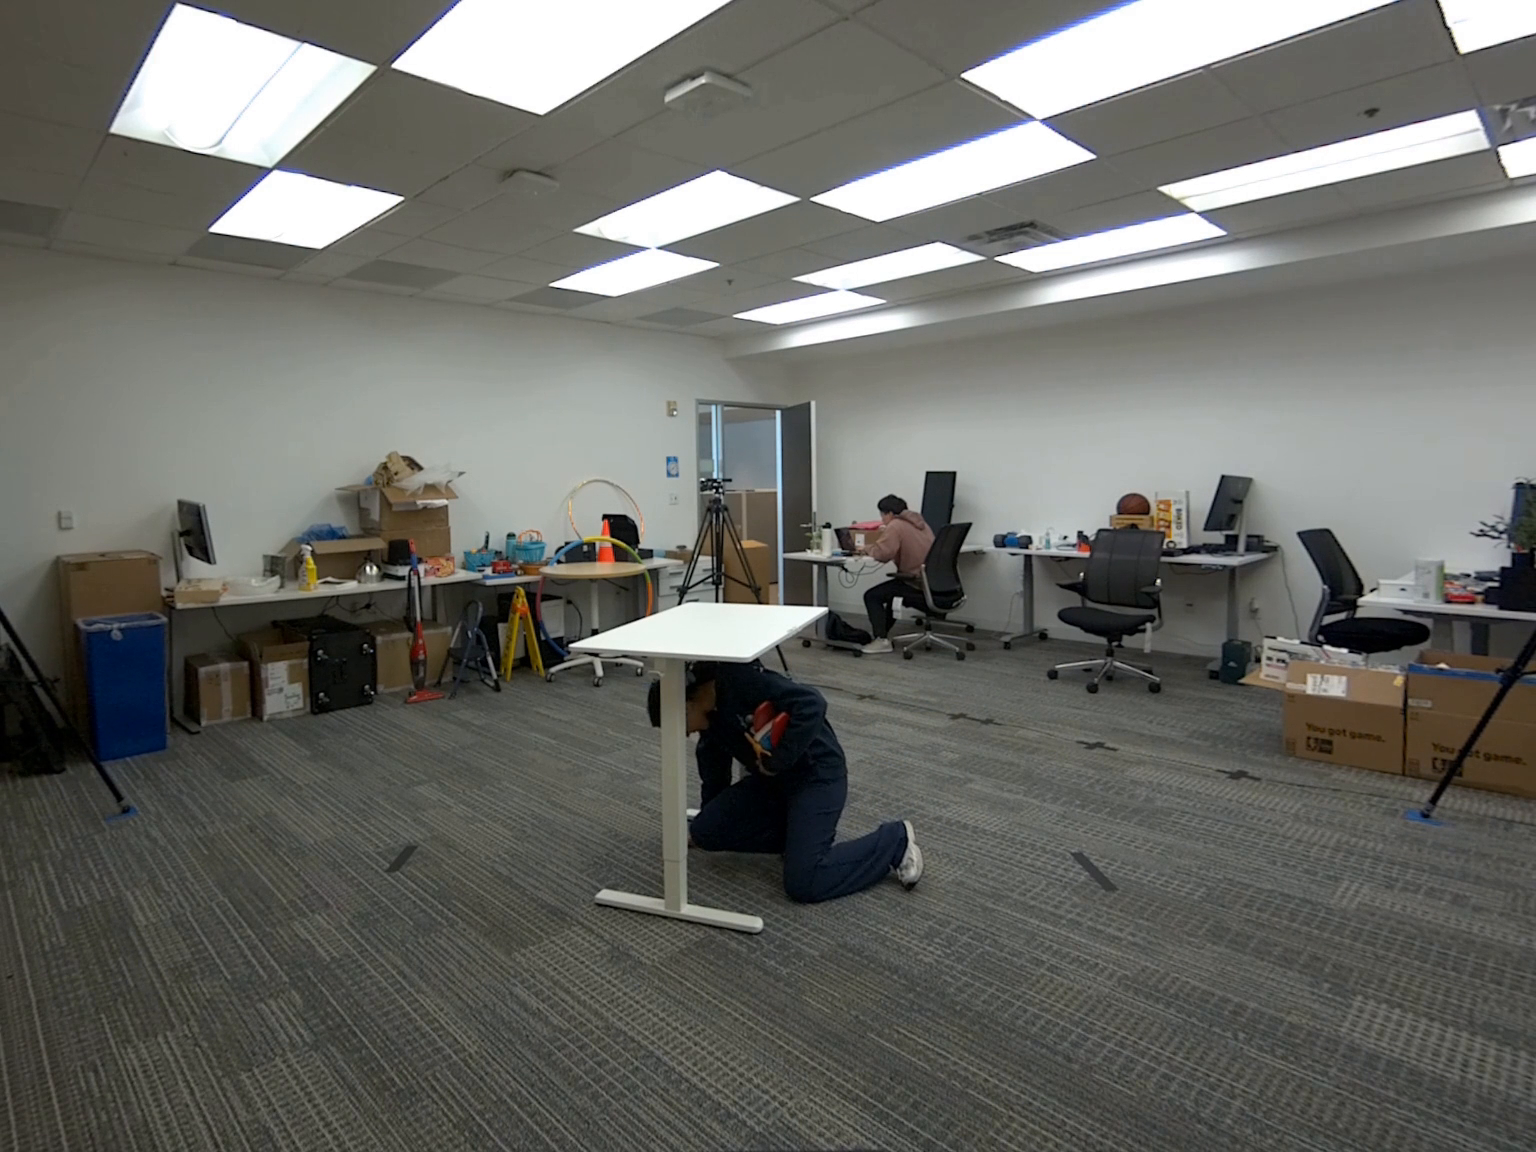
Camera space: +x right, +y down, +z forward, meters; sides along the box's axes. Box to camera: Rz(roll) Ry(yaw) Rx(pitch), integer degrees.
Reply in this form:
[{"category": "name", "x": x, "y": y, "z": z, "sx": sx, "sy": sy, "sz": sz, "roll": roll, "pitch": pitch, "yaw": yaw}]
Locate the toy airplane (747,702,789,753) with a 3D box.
[{"category": "toy airplane", "x": 0.030, "y": 0.496, "z": 2.943, "sx": 0.241, "sy": 0.259, "sz": 0.162, "roll": 32, "pitch": 14, "yaw": -48}]
